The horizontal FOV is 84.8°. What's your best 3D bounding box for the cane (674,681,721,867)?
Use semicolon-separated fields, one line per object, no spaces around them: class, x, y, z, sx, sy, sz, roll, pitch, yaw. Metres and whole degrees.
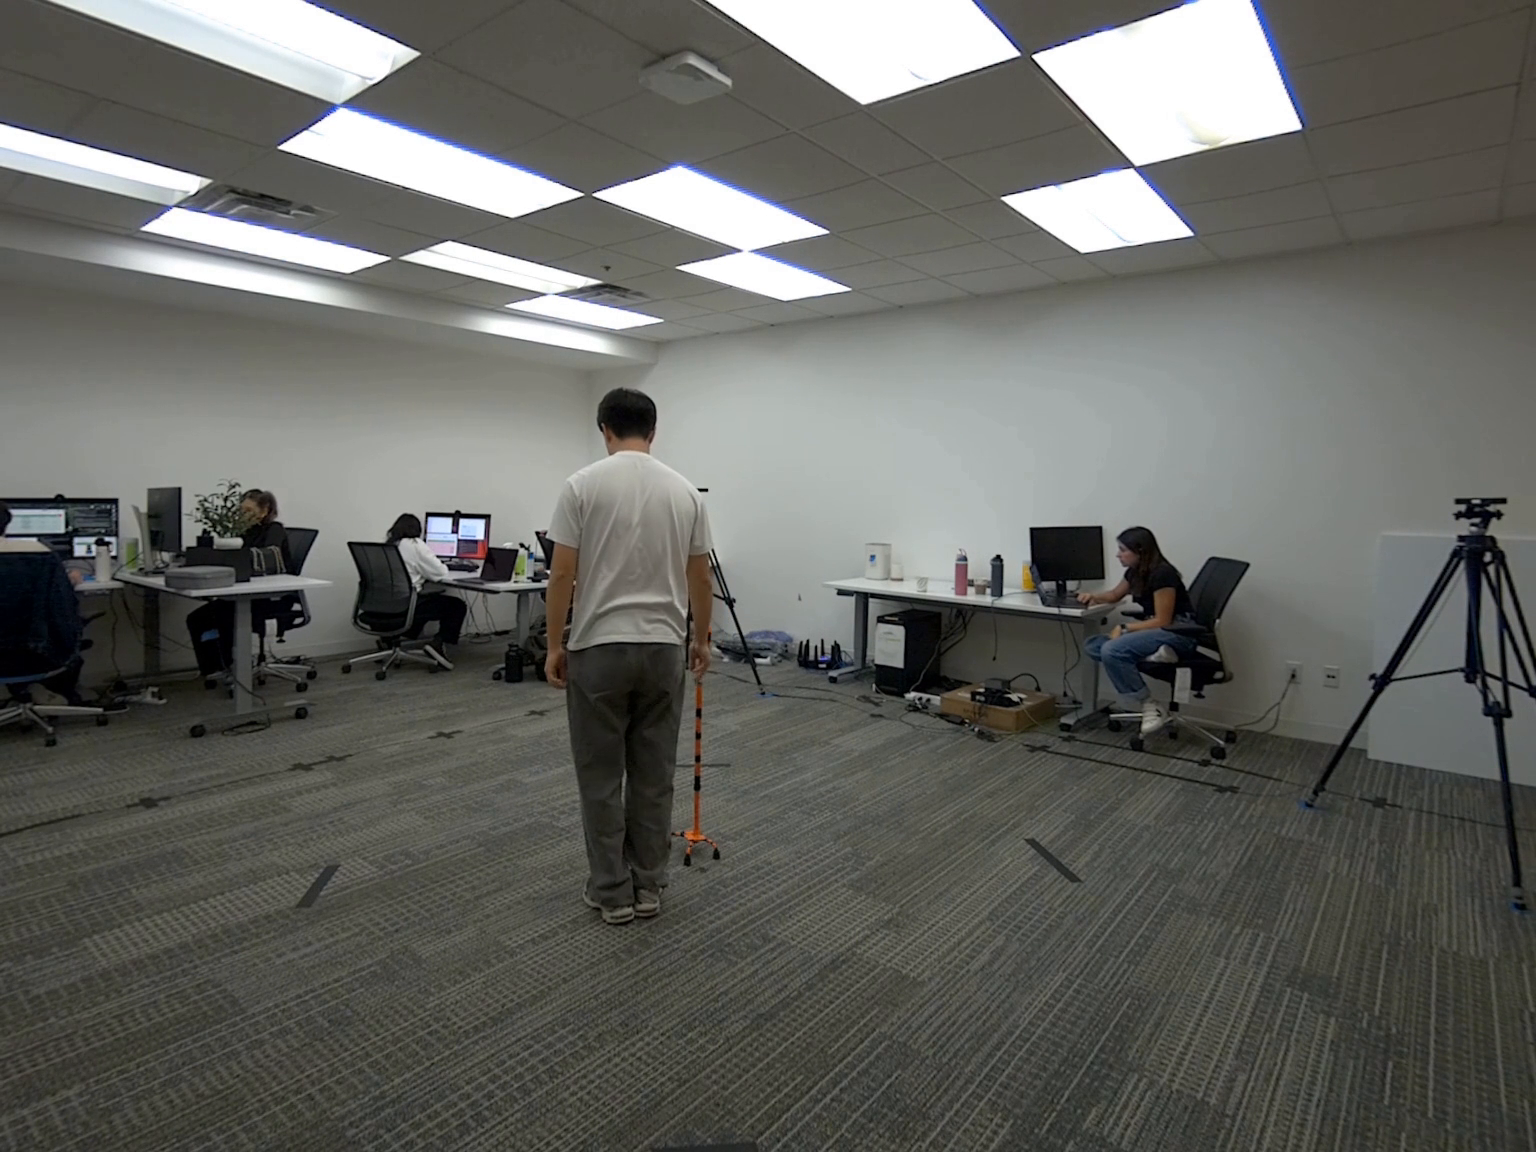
cane;-0.283;0.598;3.234;0.147;0.905;0.212;-1;3;-30
